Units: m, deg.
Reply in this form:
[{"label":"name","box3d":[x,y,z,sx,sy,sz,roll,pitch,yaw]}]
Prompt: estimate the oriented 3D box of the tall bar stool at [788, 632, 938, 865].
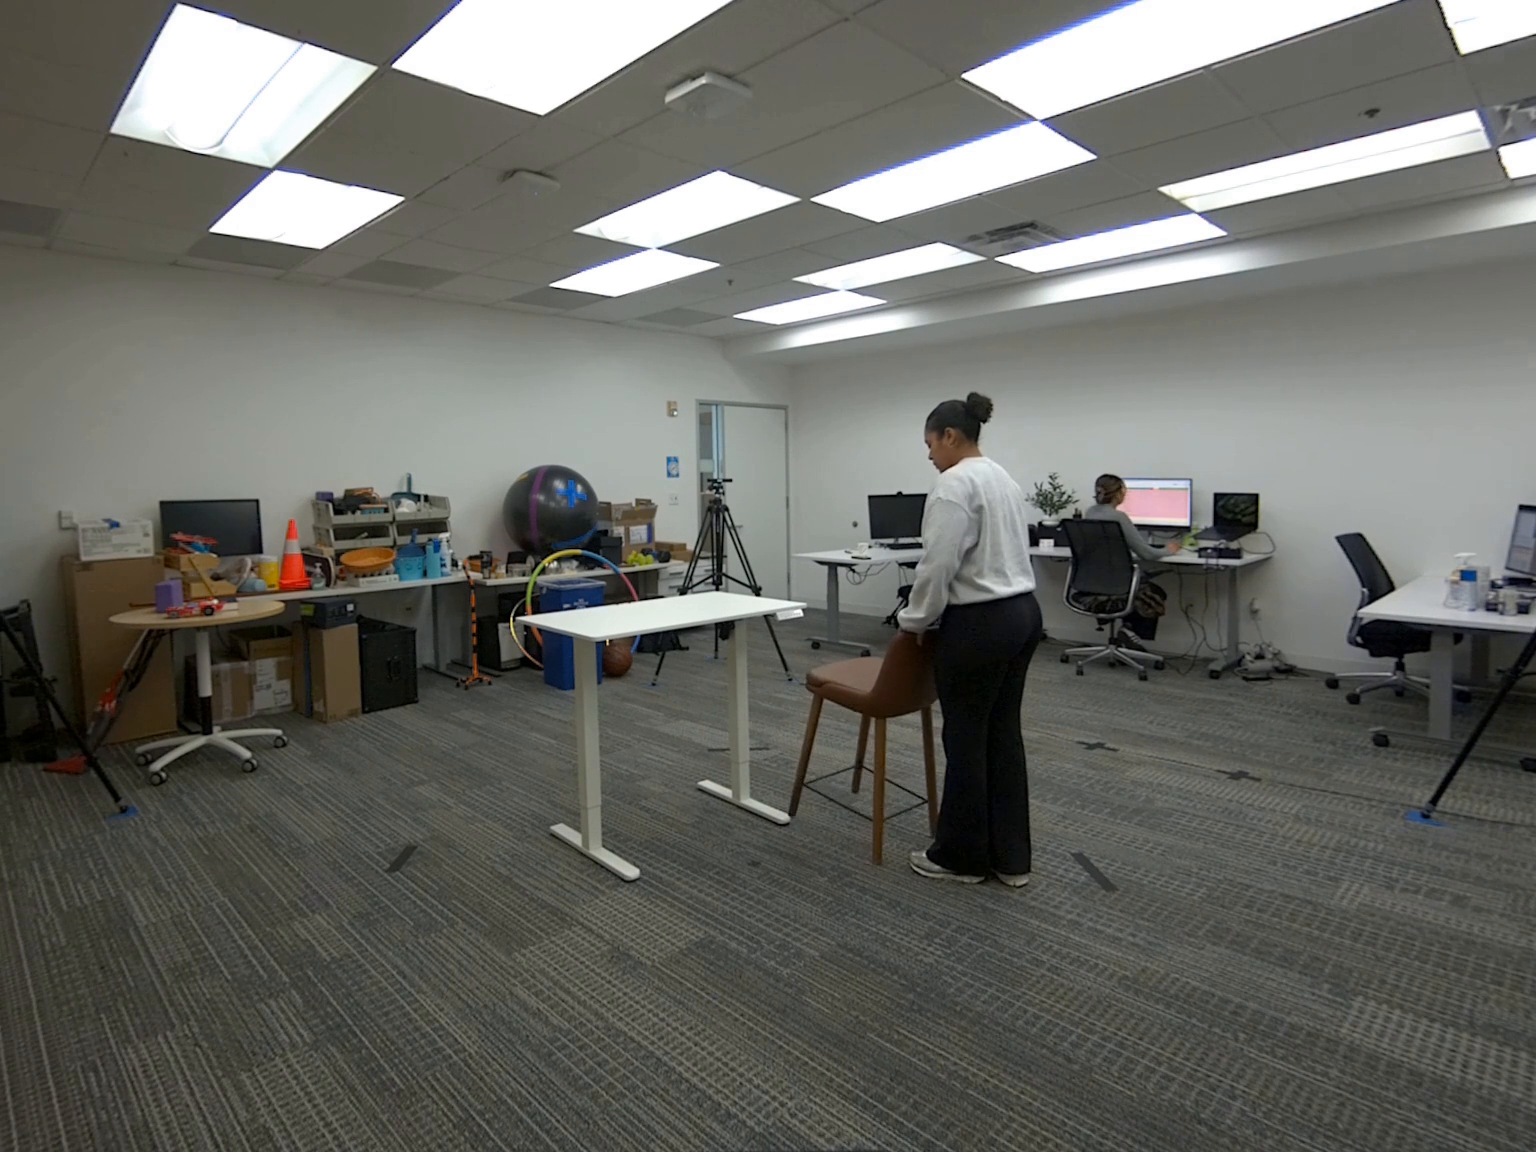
[{"label":"tall bar stool","box3d":[0.413,0.559,3.274,0.444,0.882,0.484,-4,15,-41]}]
